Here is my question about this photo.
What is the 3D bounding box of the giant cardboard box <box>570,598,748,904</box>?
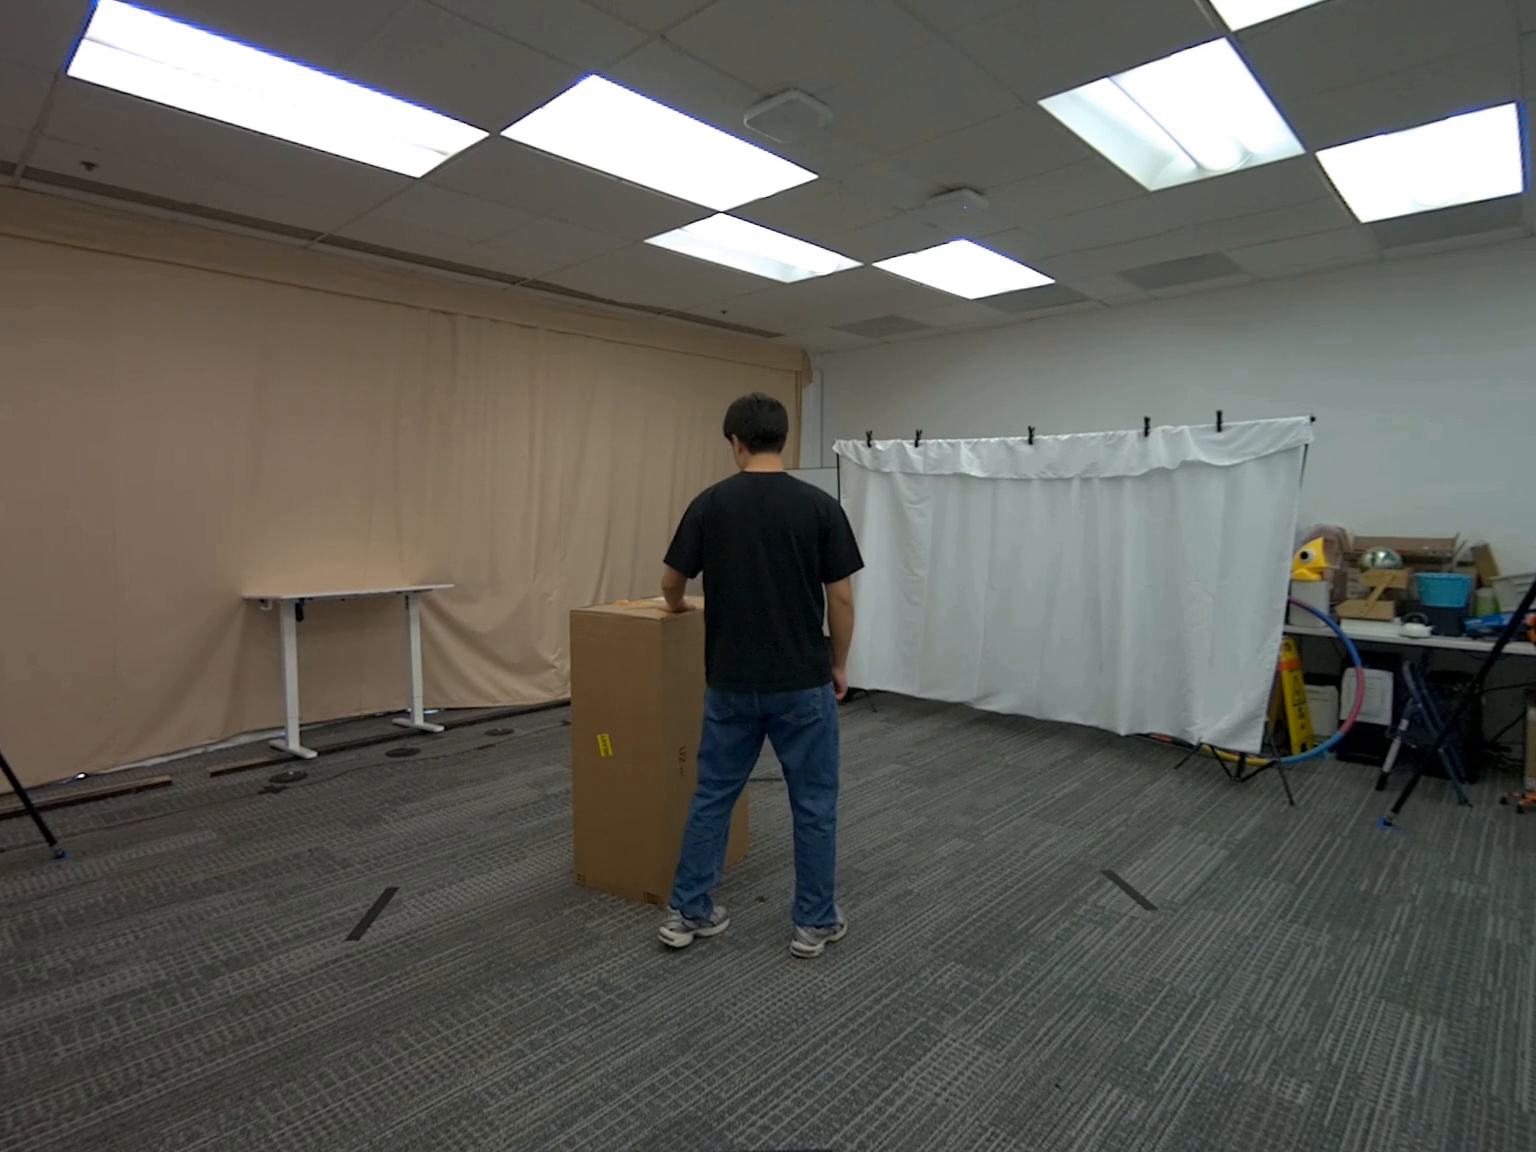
[{"bbox_3d":[-0.401,0.612,3.222,0.460,1.025,0.568,1,4,32],"label":"giant cardboard box"}]
